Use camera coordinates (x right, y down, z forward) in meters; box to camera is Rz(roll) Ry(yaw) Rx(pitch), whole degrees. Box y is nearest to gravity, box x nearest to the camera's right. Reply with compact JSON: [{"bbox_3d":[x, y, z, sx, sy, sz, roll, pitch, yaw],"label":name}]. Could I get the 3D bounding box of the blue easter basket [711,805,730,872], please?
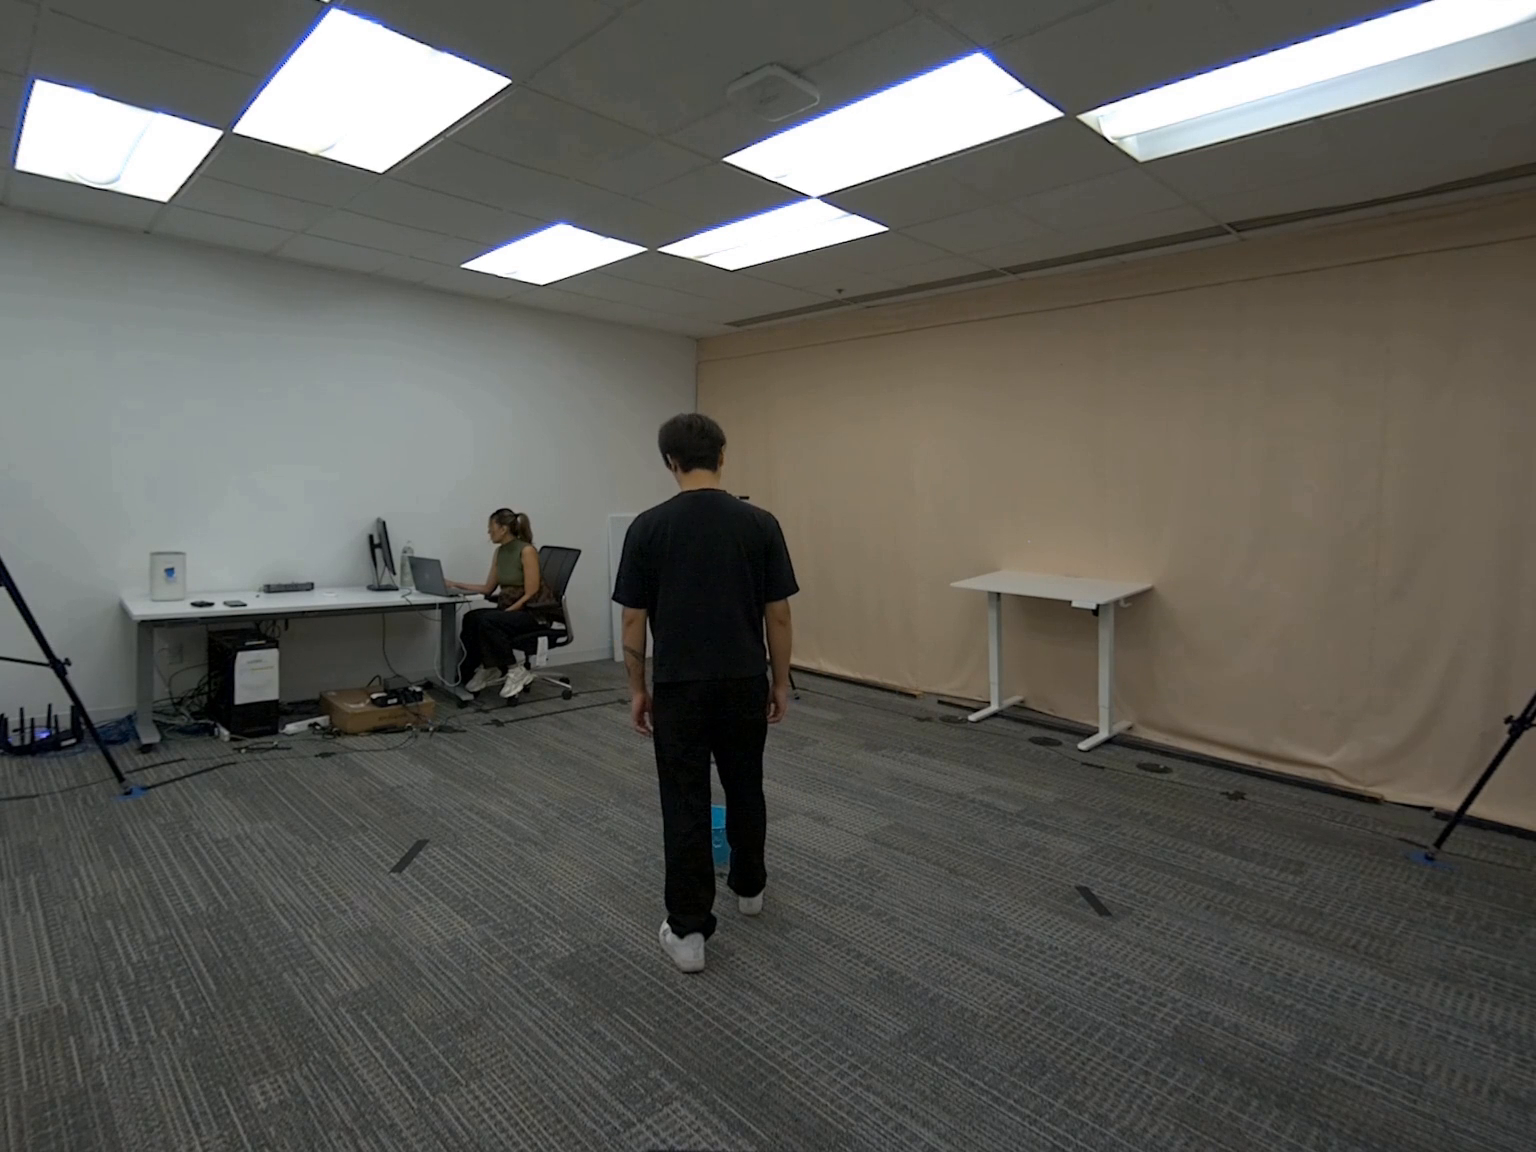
[{"bbox_3d":[-0.225,1.010,3.281,0.243,0.155,0.244,1,5,-1],"label":"blue easter basket"}]
